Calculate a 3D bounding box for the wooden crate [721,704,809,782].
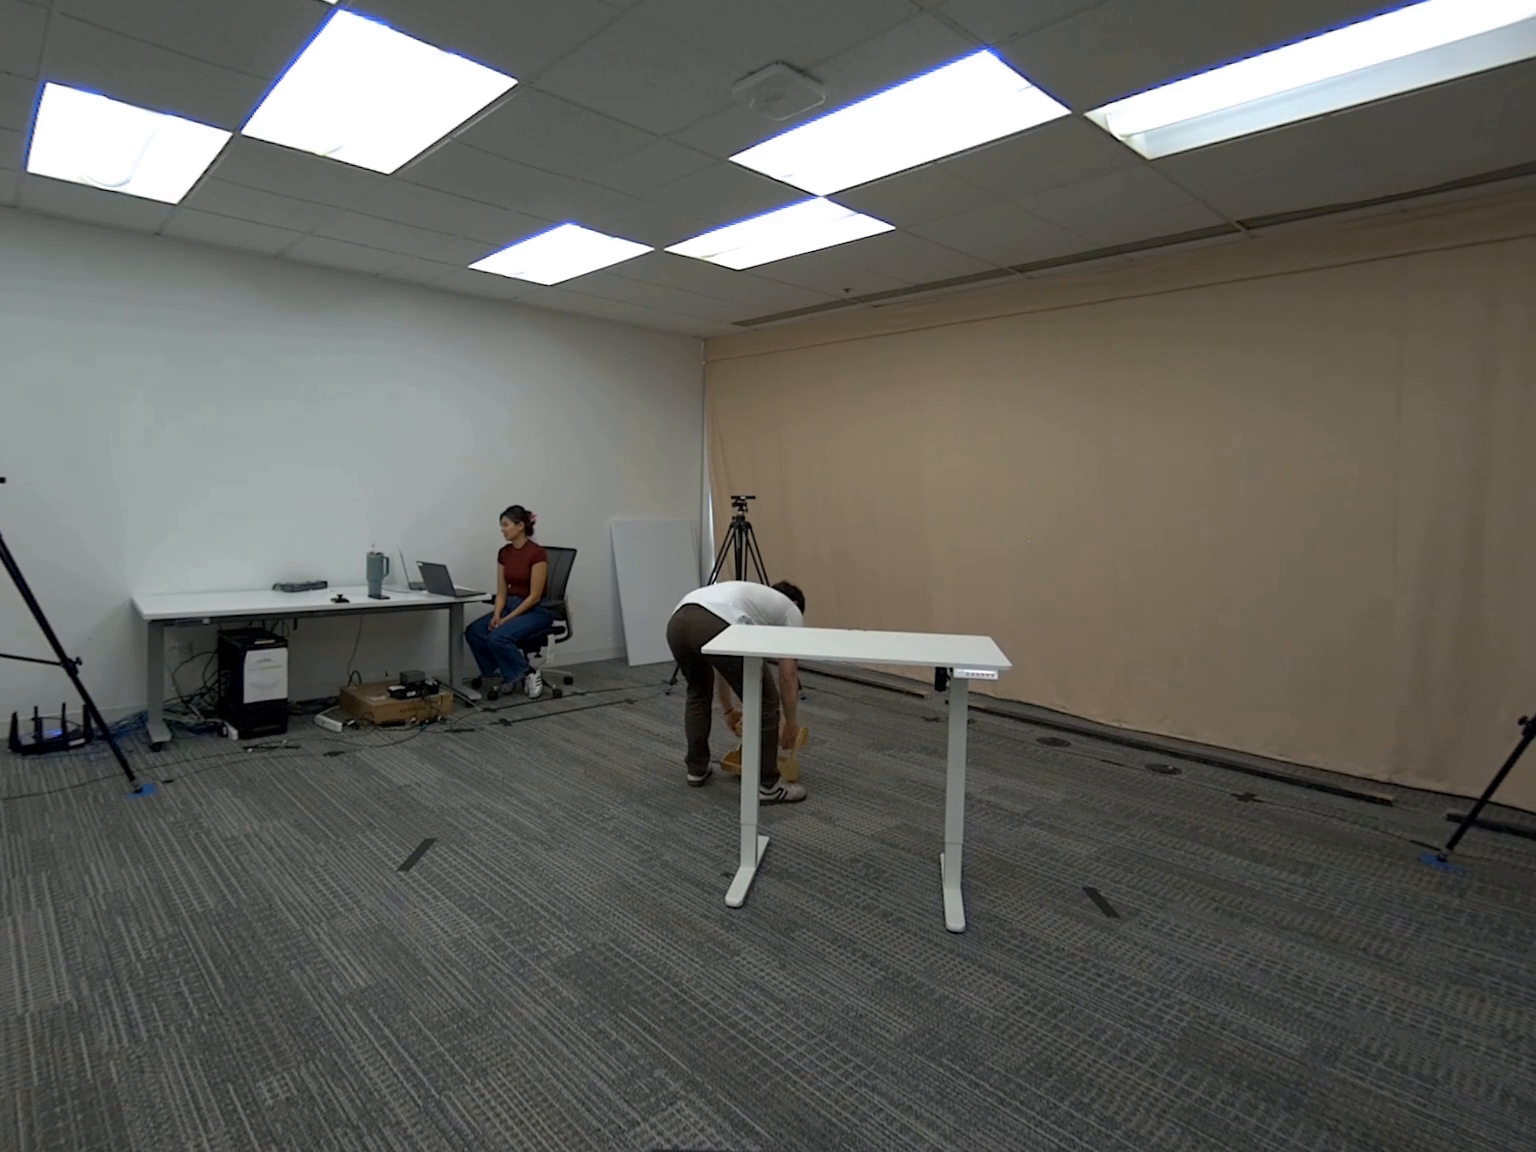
[{"bbox_3d":[-0.031,0.852,4.205,0.332,0.273,0.294,6,-2,37],"label":"wooden crate"}]
